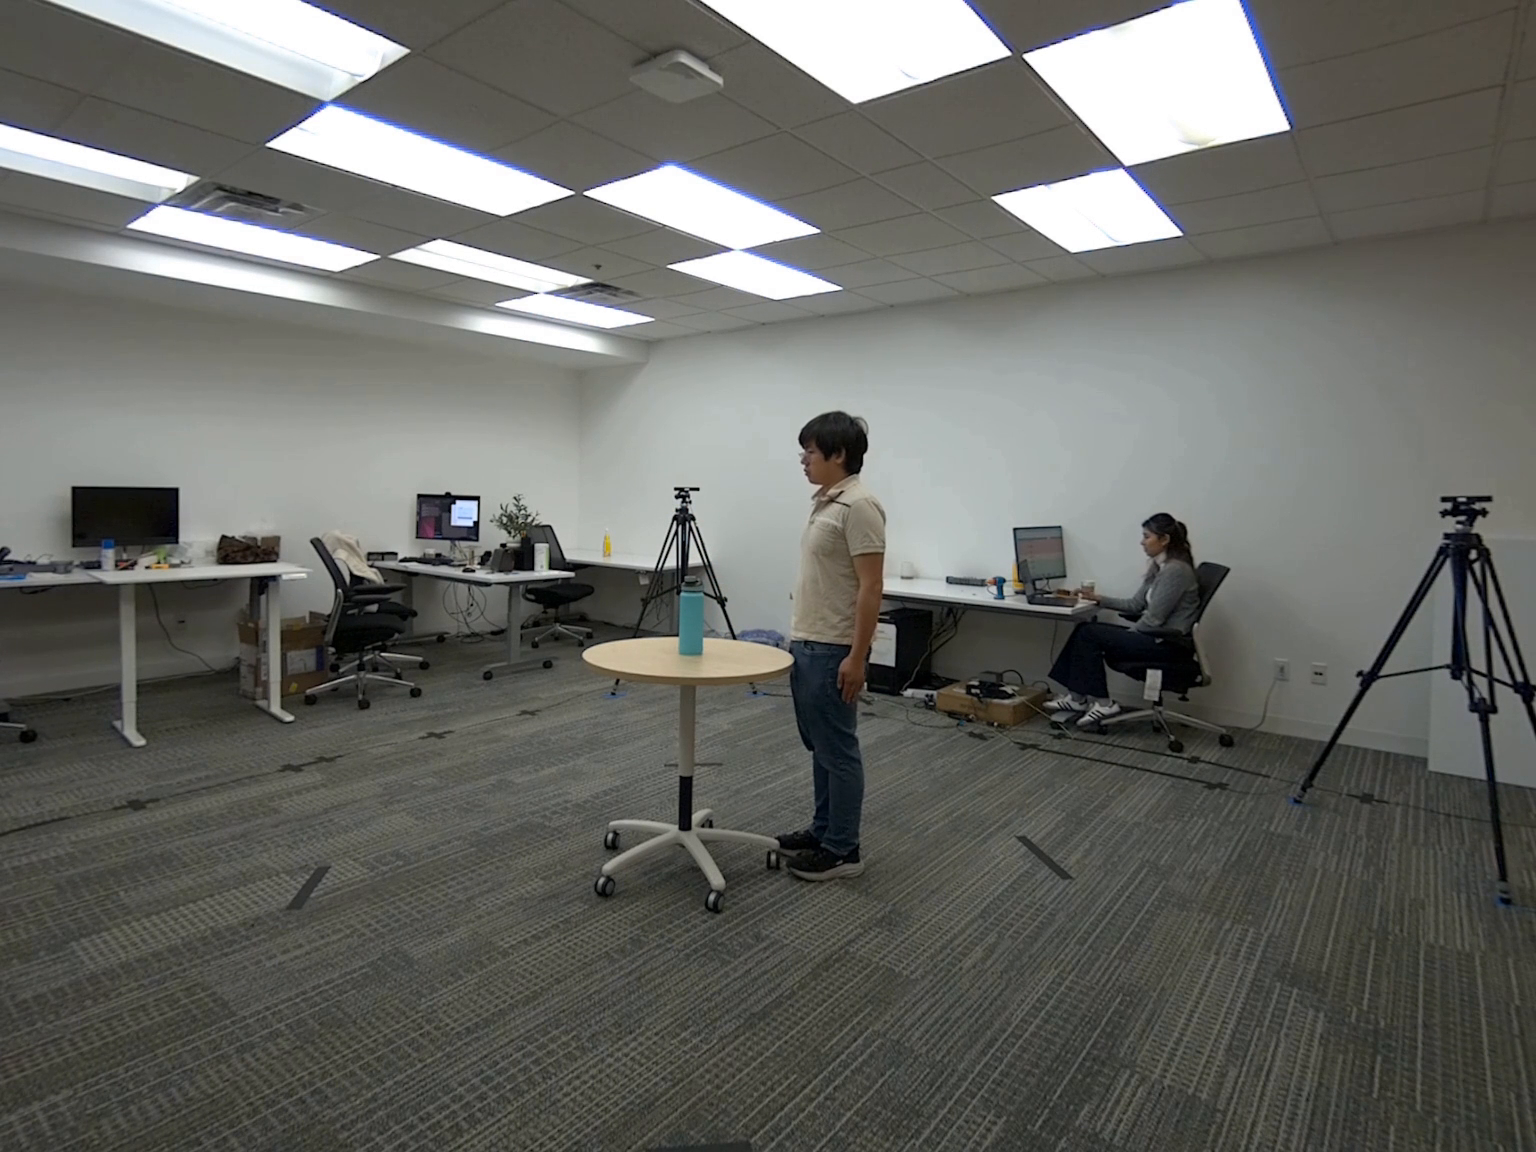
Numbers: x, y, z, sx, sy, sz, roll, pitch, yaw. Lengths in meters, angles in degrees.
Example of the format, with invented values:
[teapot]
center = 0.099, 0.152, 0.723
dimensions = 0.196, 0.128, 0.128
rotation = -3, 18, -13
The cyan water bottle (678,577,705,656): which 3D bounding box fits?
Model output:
[cyan water bottle]
center = -0.291, 0.141, 3.123
dimensions = 0.092, 0.283, 0.092
rotation = 2, 1, -2
